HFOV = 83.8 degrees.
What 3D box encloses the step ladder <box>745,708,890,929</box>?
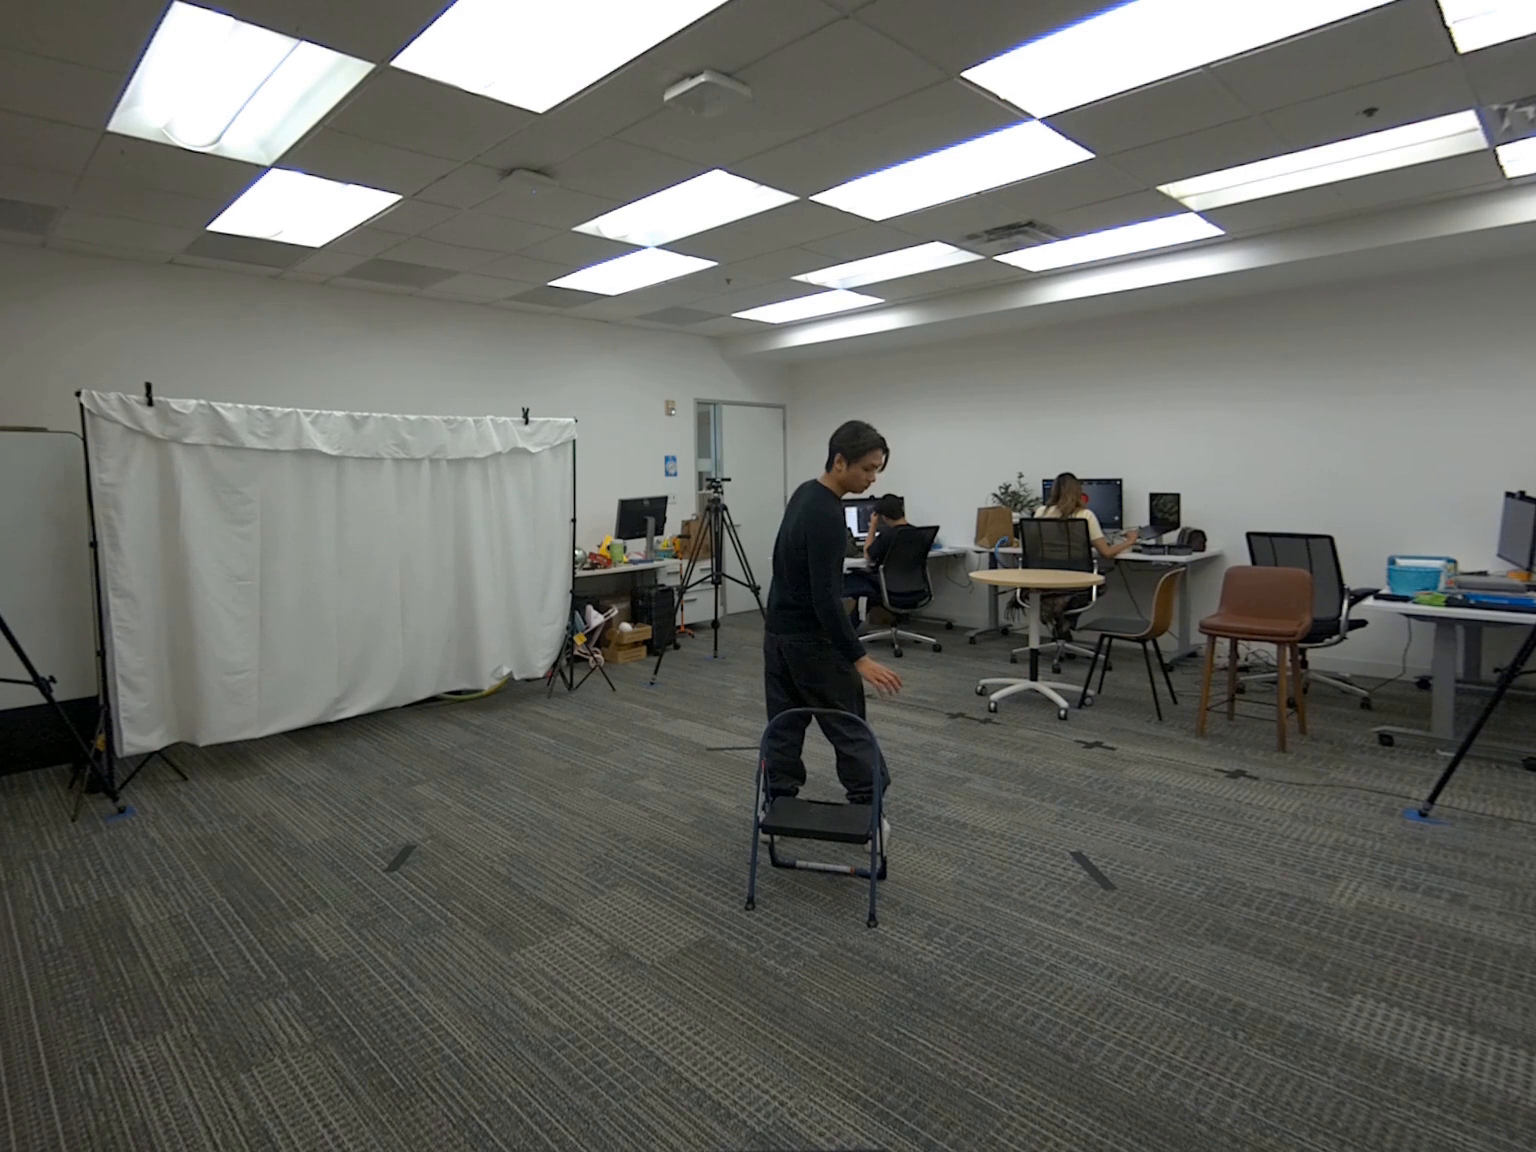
[{"bbox_3d":[0.167,0.768,2.849,0.438,0.603,0.345,0,5,17],"label":"step ladder"}]
